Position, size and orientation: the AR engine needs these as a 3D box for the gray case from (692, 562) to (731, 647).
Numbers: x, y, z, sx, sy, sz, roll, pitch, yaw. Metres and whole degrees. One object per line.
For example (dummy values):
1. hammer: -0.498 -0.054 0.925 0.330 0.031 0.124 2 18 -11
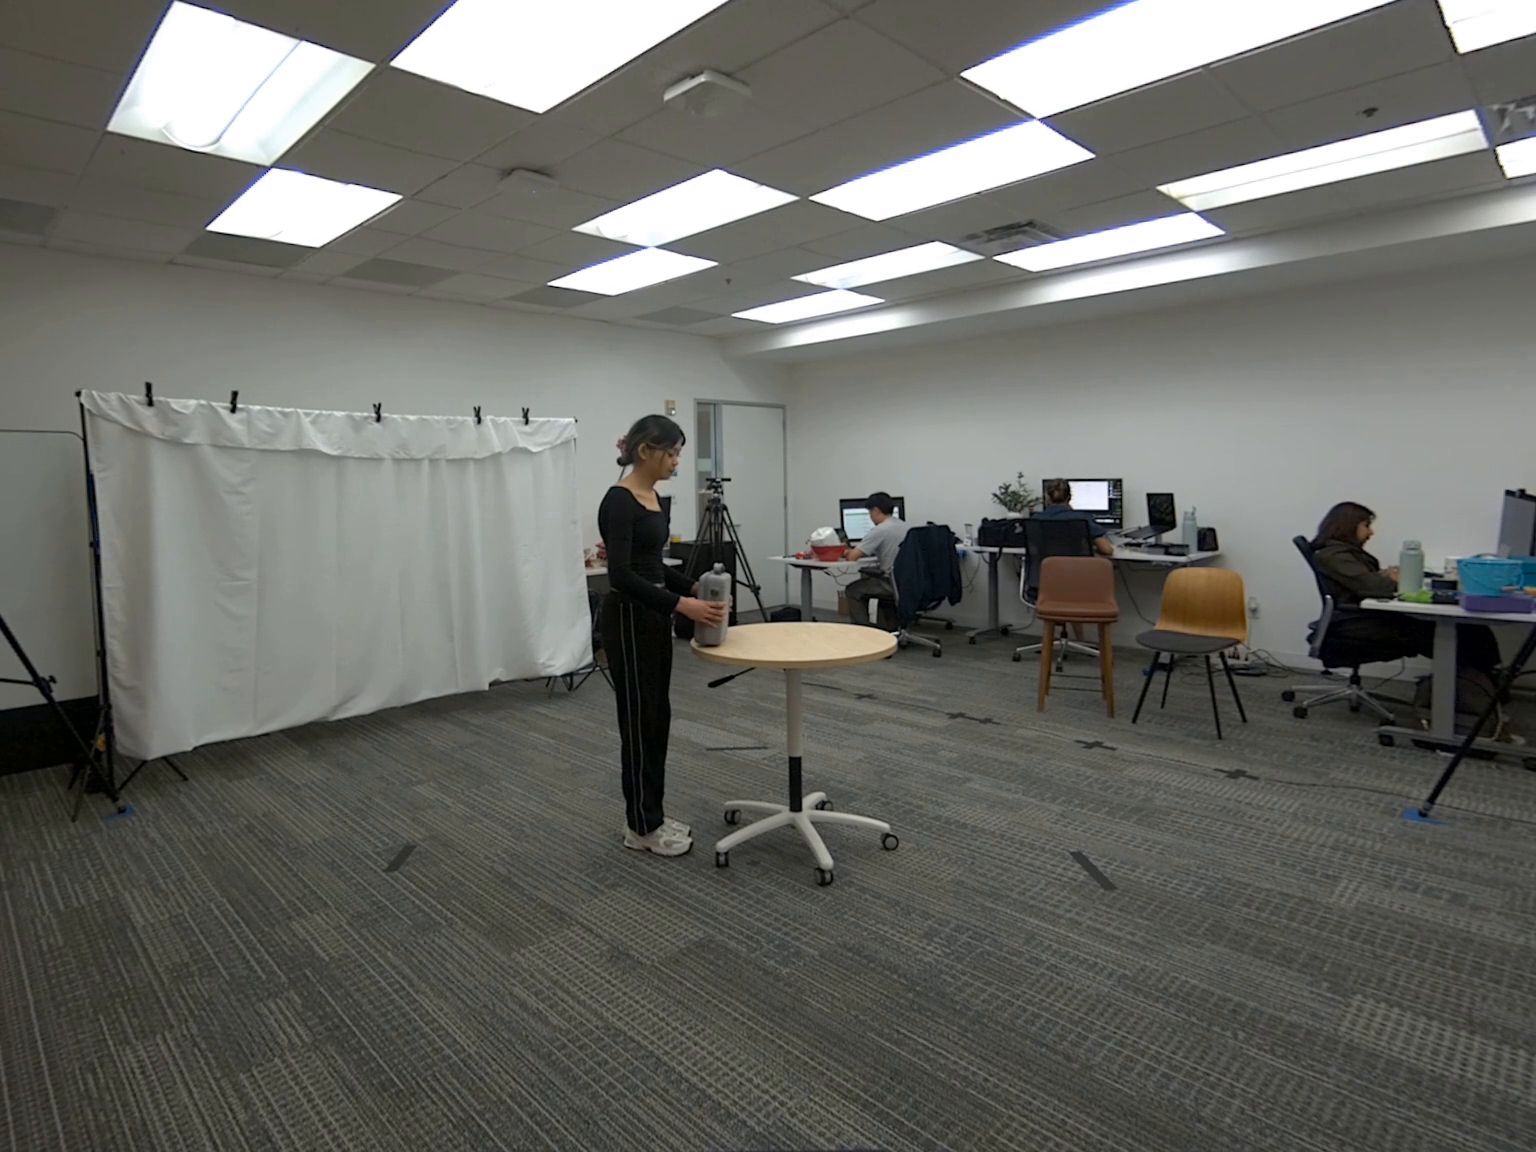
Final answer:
1. gray case: -0.196 0.112 3.170 0.105 0.260 0.256 5 3 2
